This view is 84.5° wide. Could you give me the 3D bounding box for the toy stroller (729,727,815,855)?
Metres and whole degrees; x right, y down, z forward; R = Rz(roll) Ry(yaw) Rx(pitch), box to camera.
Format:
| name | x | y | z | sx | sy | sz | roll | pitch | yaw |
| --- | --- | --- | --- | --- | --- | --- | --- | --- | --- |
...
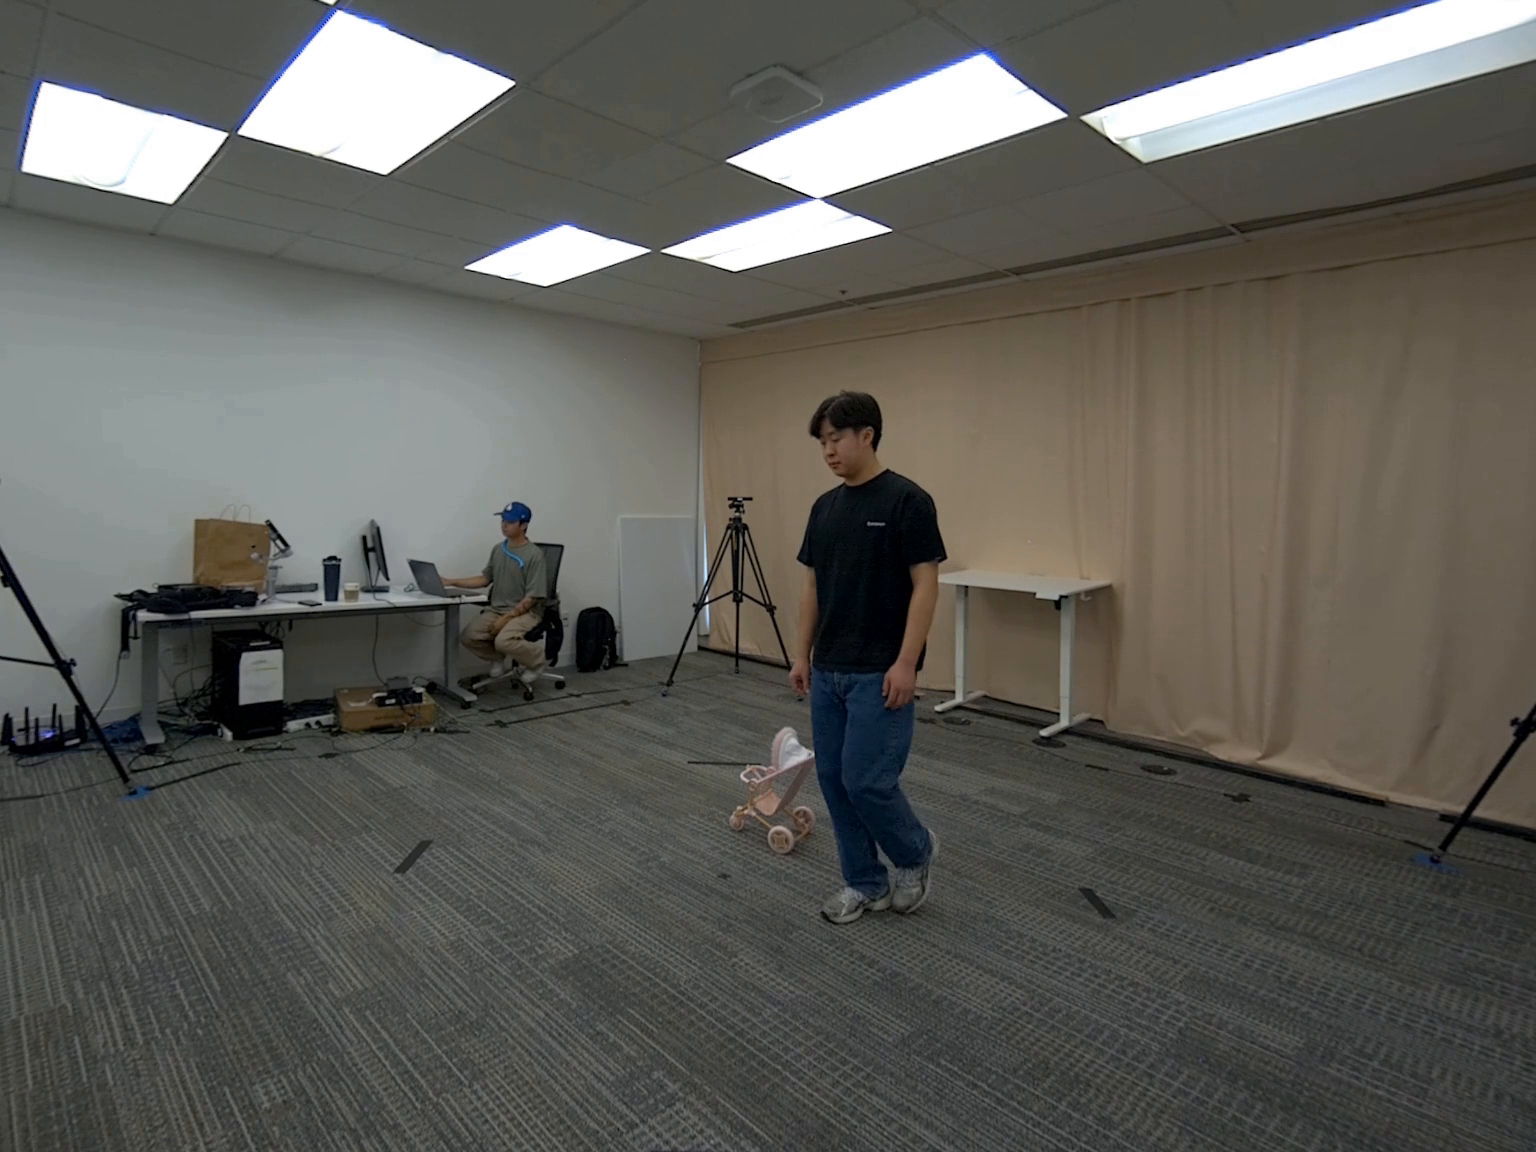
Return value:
| name | x | y | z | sx | sy | sz | roll | pitch | yaw |
| --- | --- | --- | --- | --- | --- | --- | --- | --- | --- |
| toy stroller | 0.041 | 0.857 | 3.449 | 0.350 | 0.532 | 0.276 | 22 | 12 | 27 |
